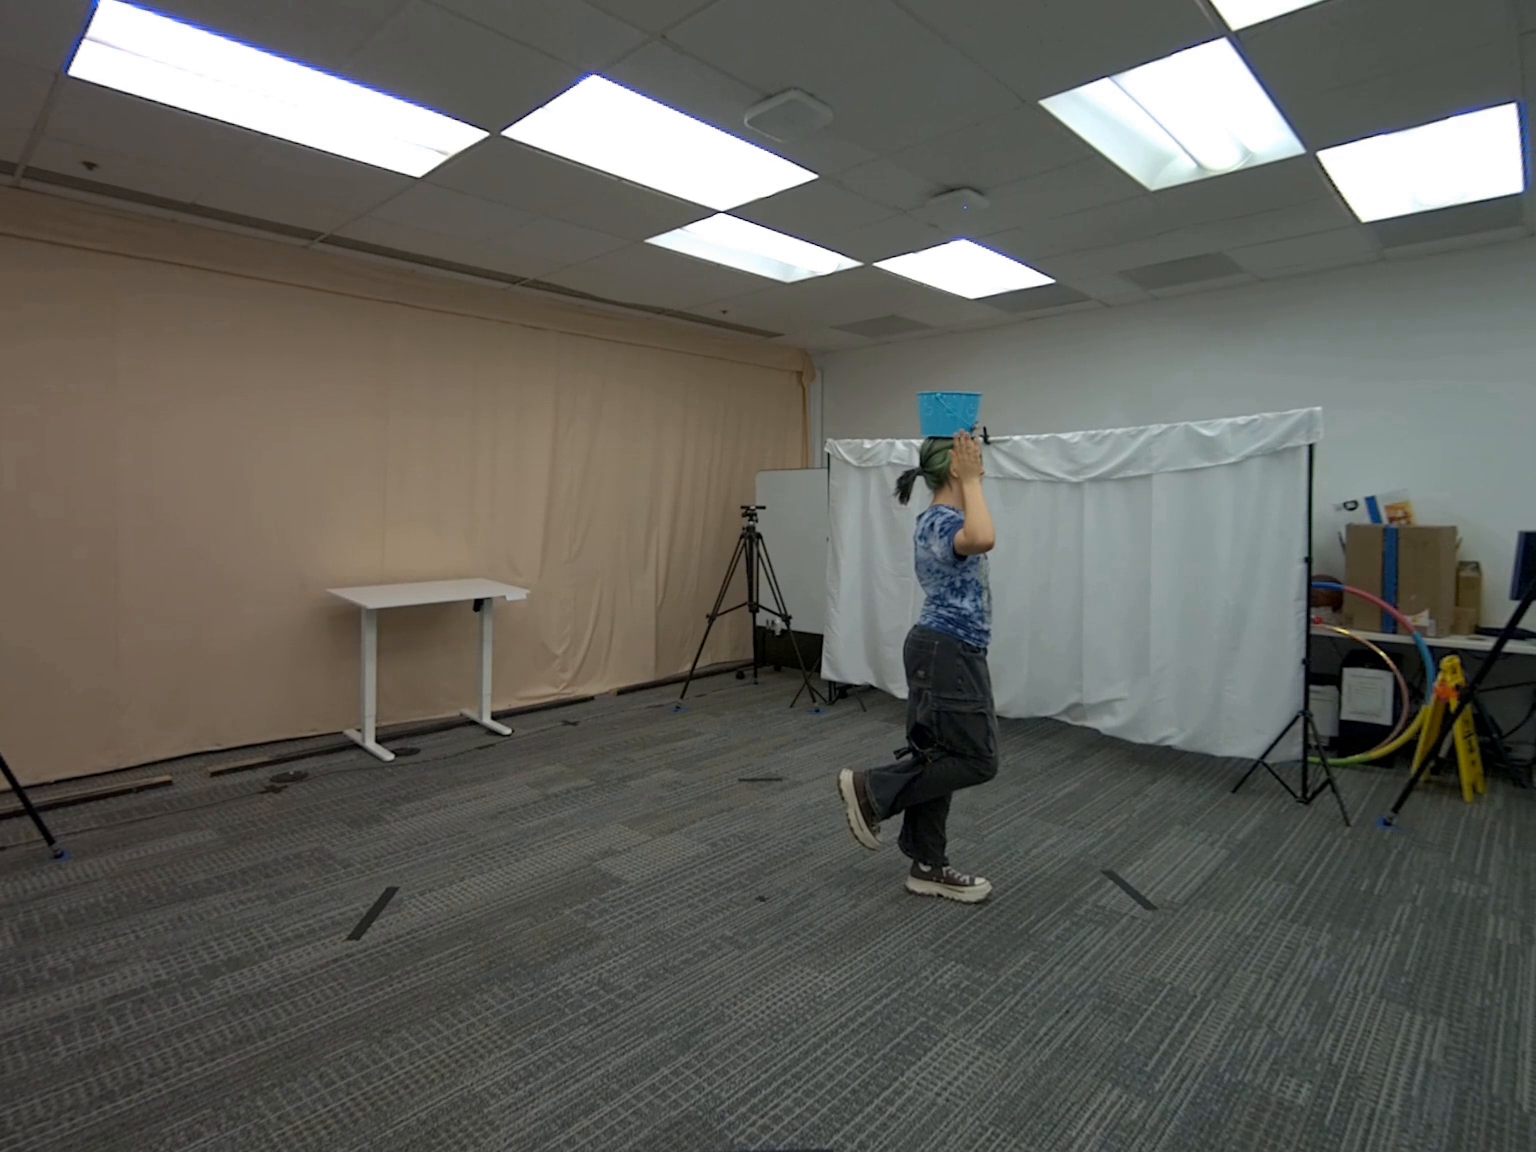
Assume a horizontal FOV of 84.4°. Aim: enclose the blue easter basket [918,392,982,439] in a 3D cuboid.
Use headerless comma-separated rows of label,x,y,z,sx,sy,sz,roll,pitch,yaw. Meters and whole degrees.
blue easter basket,0.648,-0.570,2.997,0.243,0.155,0.245,2,8,-2
